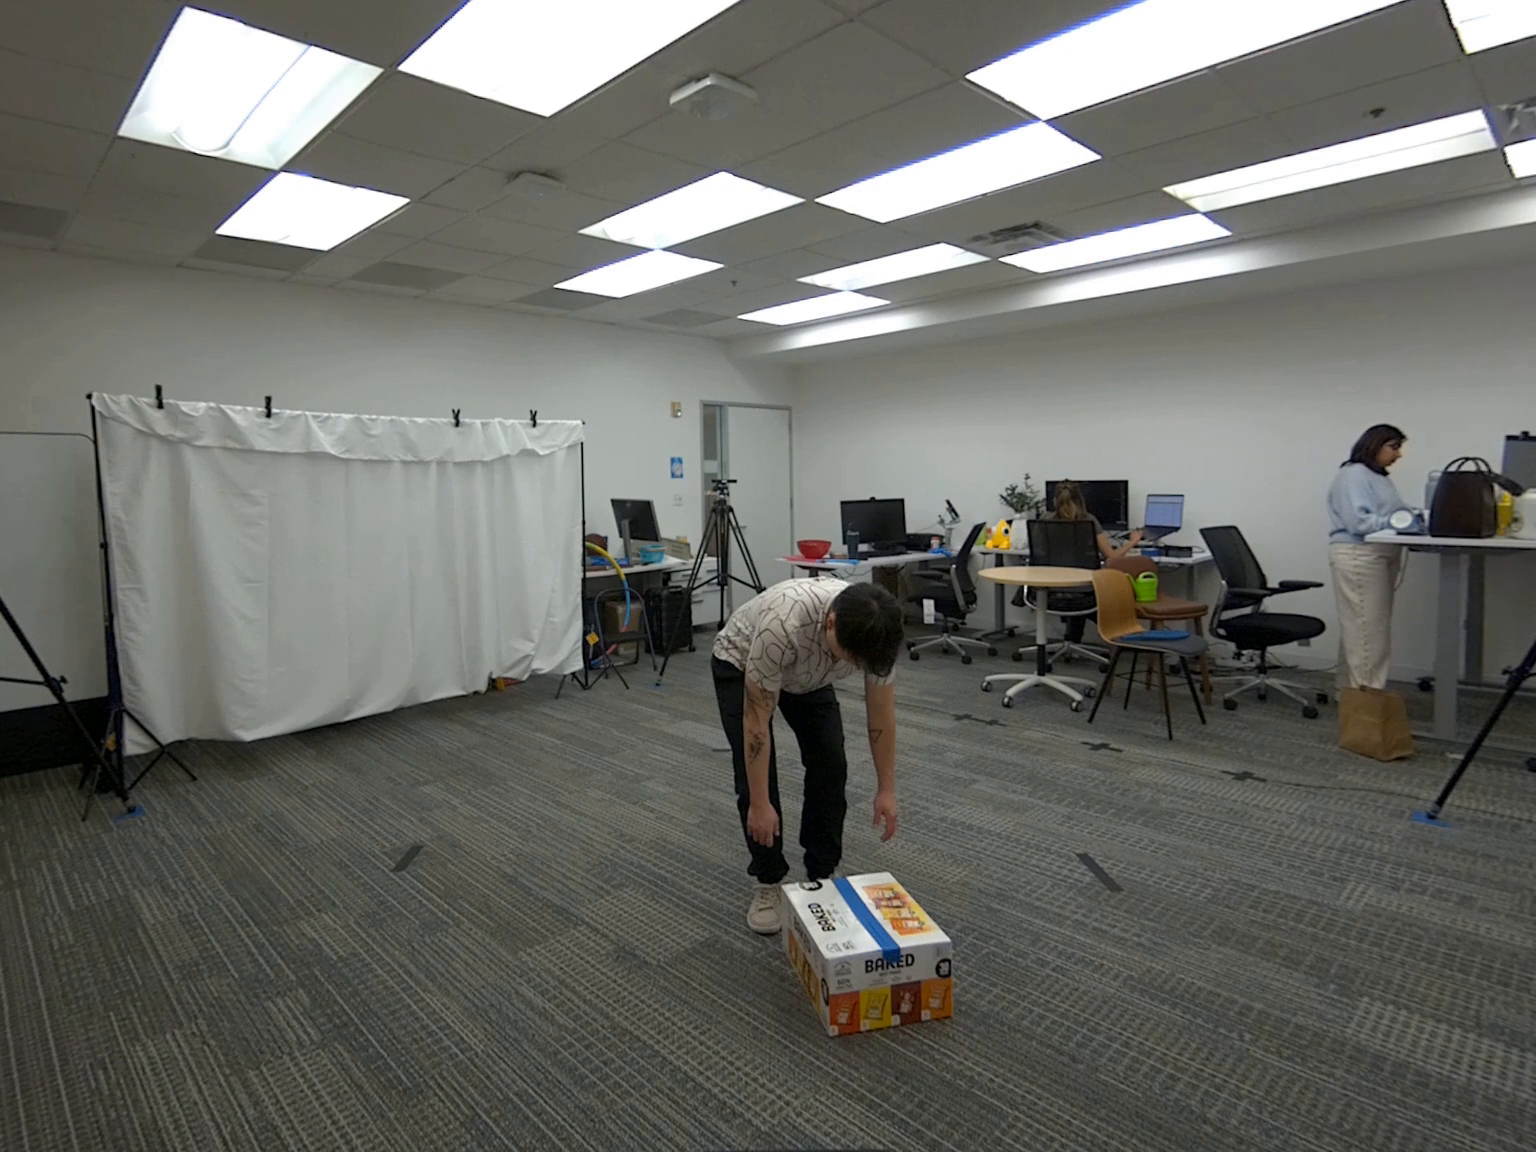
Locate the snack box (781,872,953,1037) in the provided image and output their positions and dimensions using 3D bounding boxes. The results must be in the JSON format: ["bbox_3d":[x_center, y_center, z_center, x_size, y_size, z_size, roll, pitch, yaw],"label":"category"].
[{"bbox_3d":[0.266,1.028,2.355,0.336,0.205,0.412,-2,6,-14],"label":"snack box"}]
